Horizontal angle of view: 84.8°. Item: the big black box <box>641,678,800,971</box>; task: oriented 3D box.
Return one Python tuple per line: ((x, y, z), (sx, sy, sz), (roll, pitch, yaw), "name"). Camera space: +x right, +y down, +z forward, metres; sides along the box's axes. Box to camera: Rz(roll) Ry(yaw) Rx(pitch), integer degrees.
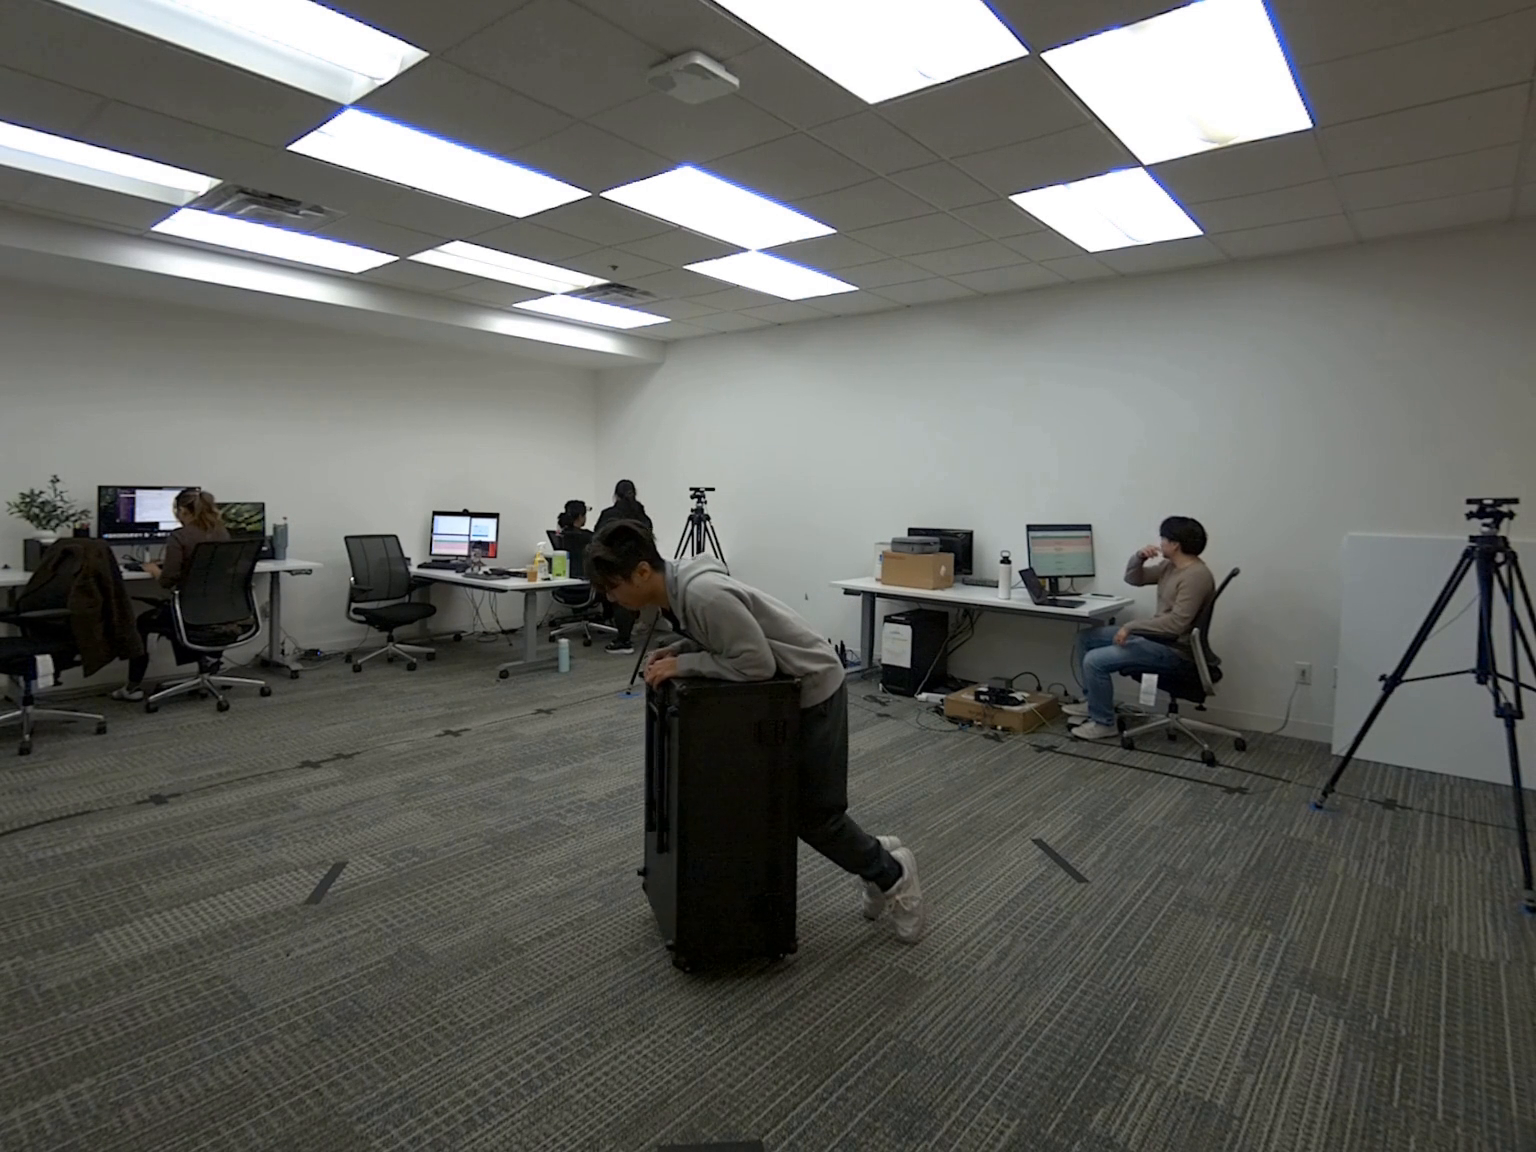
((-0.172, 0.700, 2.574), (0.390, 0.858, 0.532), (-2, 5, -17), "big black box")
